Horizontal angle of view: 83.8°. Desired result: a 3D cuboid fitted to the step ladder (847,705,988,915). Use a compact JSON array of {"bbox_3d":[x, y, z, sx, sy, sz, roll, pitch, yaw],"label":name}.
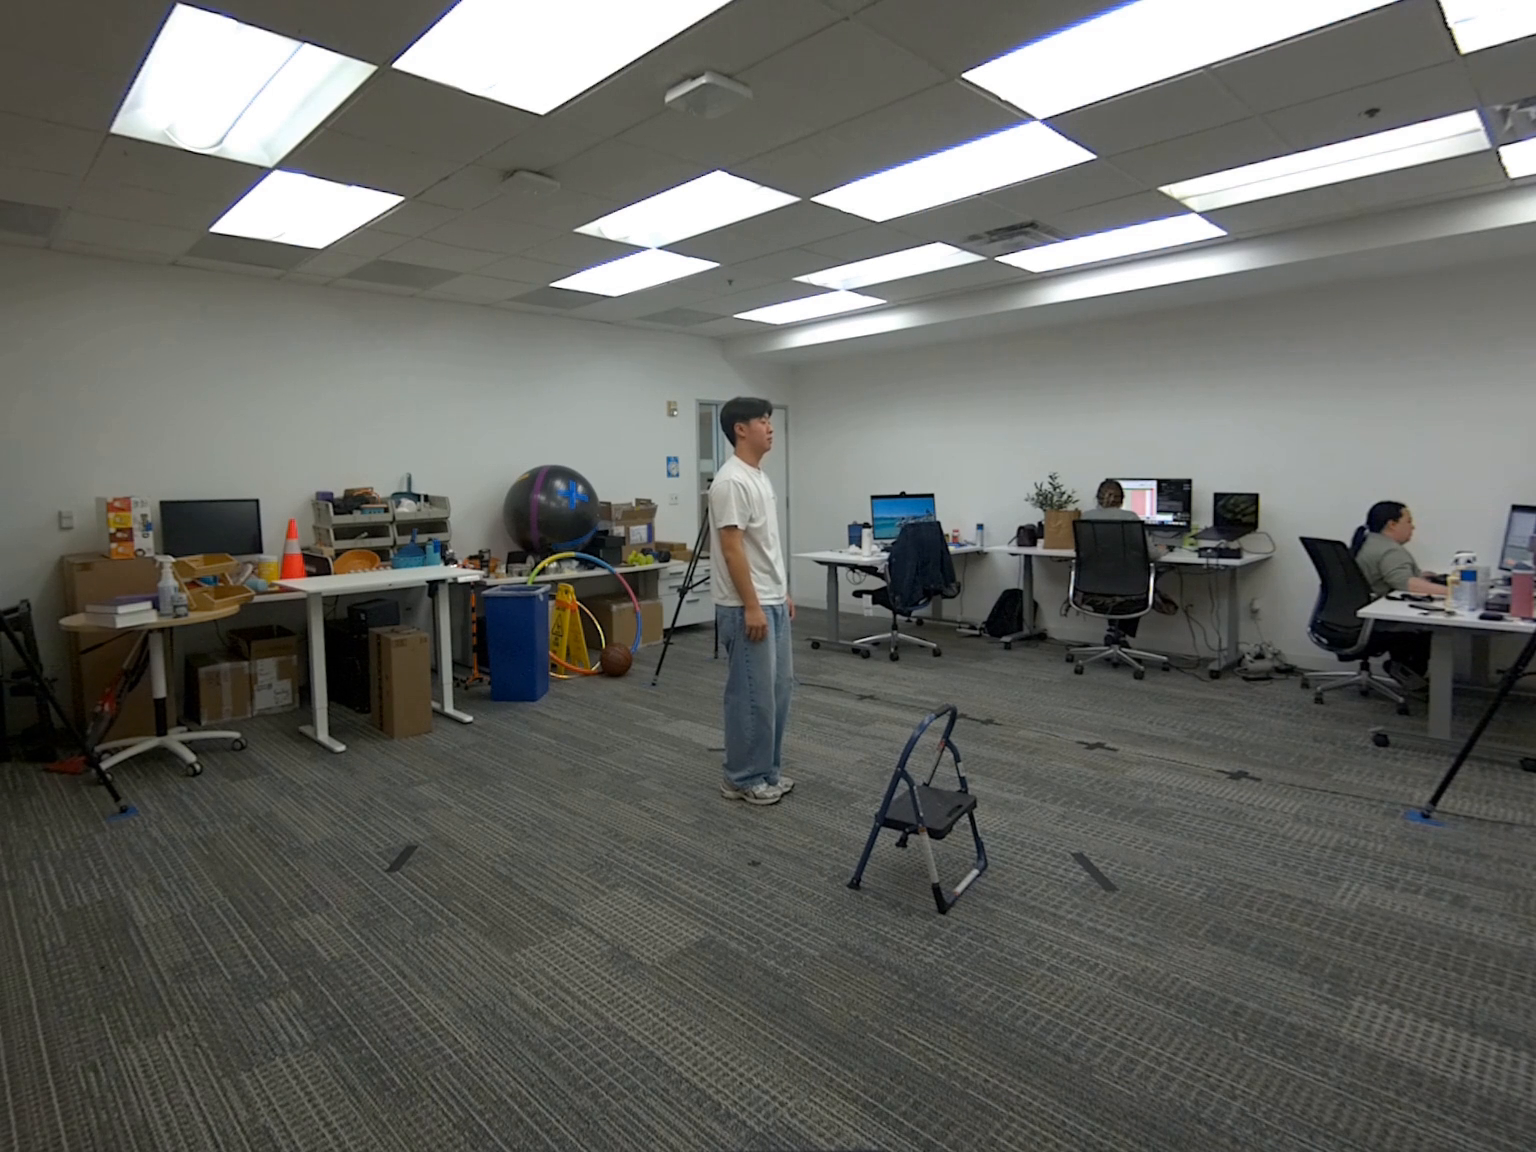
[{"bbox_3d":[0.530,0.750,2.959,0.359,0.604,0.420,2,5,33],"label":"step ladder"}]
